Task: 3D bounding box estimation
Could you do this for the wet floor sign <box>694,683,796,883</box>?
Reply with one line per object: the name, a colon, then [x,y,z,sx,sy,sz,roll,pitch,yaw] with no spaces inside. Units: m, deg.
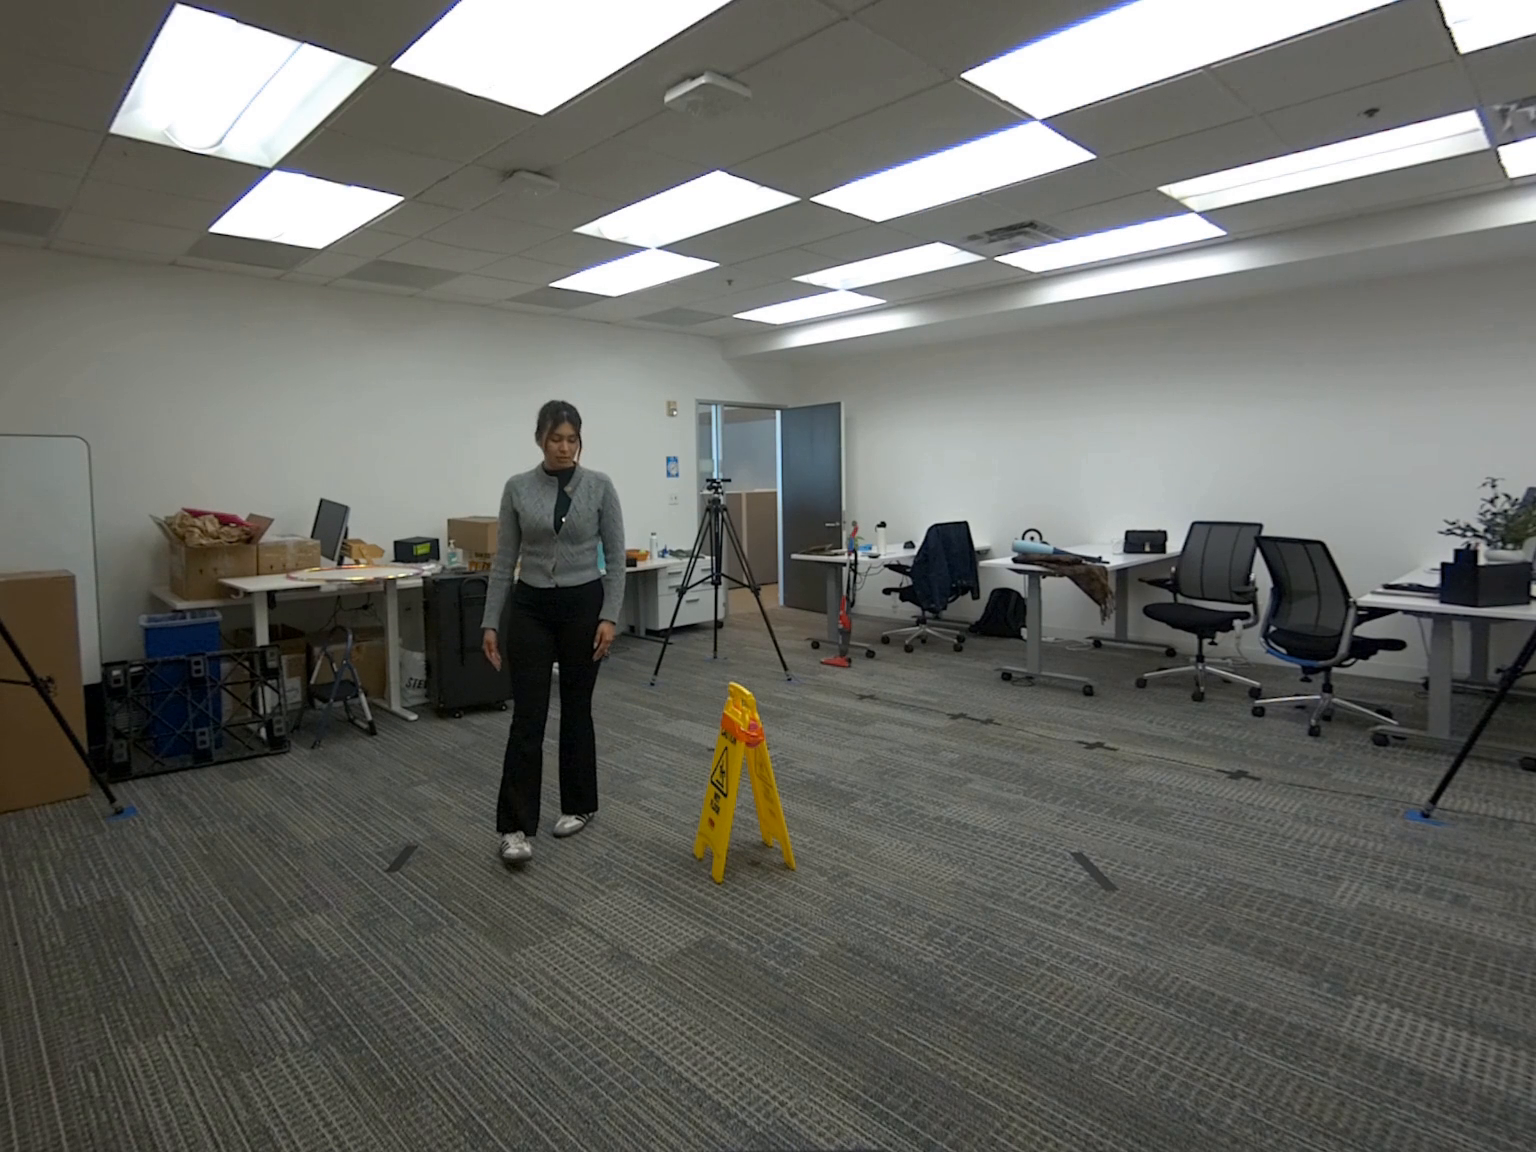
wet floor sign: [-0.089,0.719,3.106,0.284,0.643,0.289,-2,5,-22]
